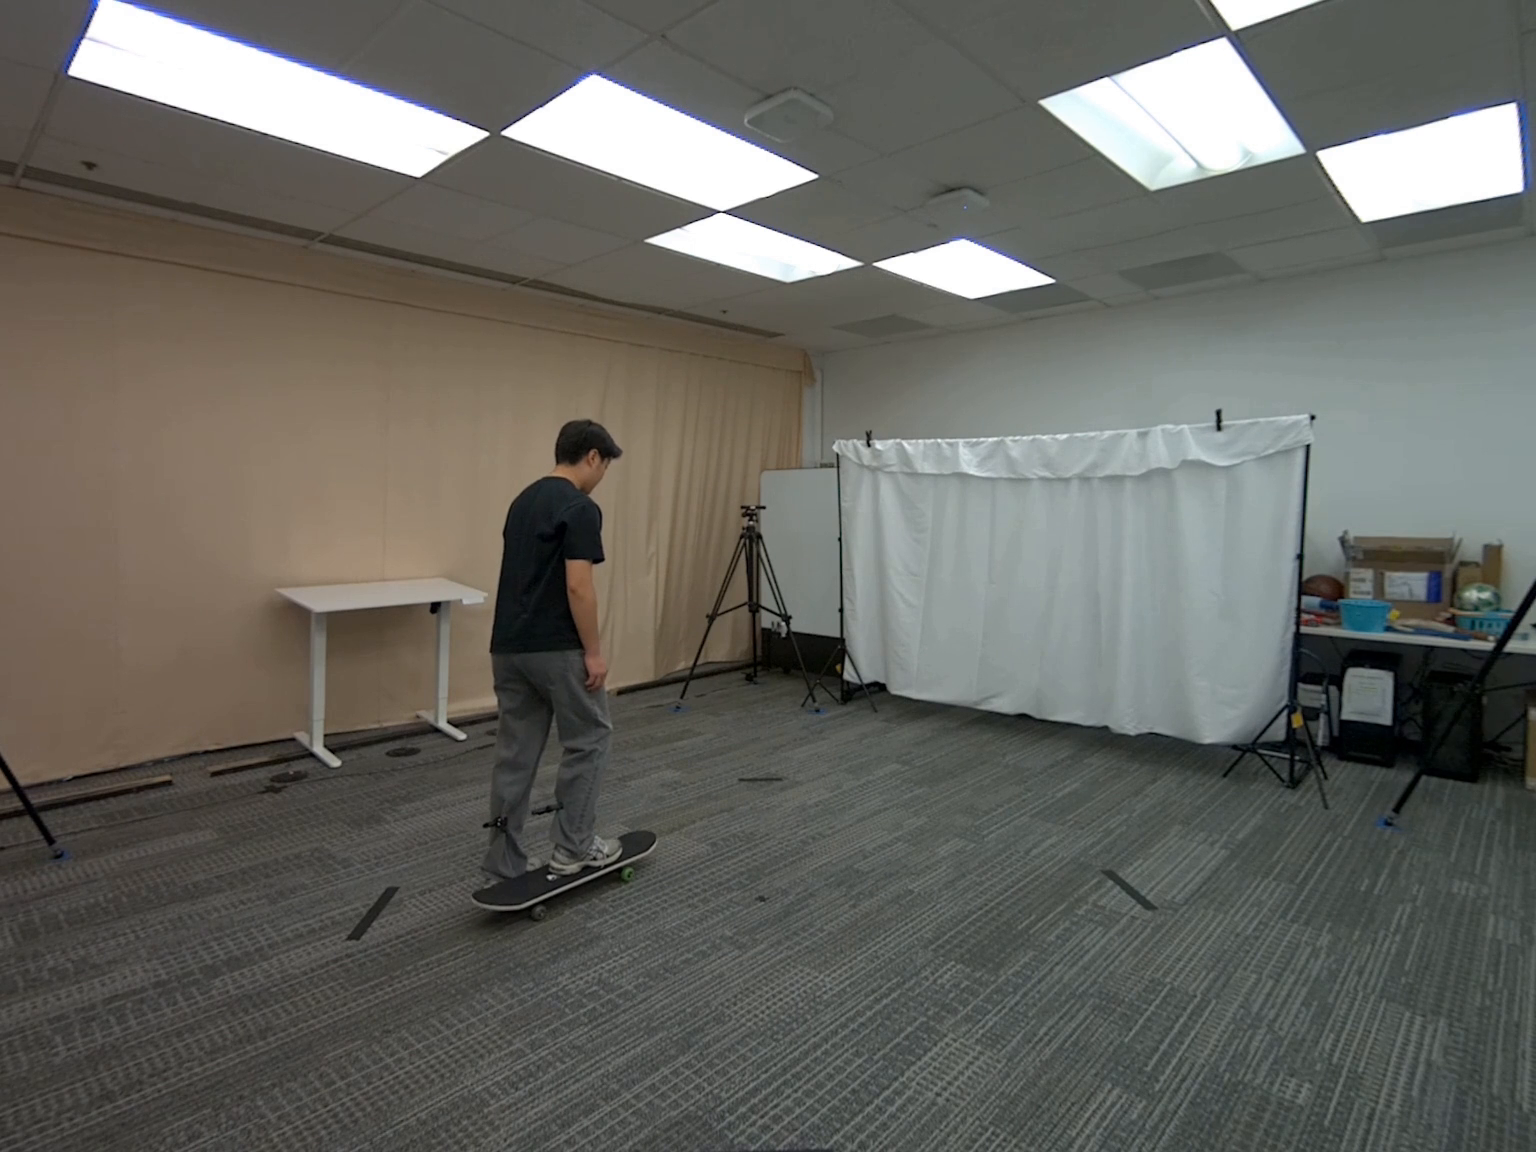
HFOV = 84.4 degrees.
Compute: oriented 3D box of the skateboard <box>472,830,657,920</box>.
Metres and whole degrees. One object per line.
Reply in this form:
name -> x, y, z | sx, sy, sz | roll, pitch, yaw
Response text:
skateboard -> -0.702, 1.094, 3.043 | 0.200, 0.110, 0.762 | 4, 7, 39
